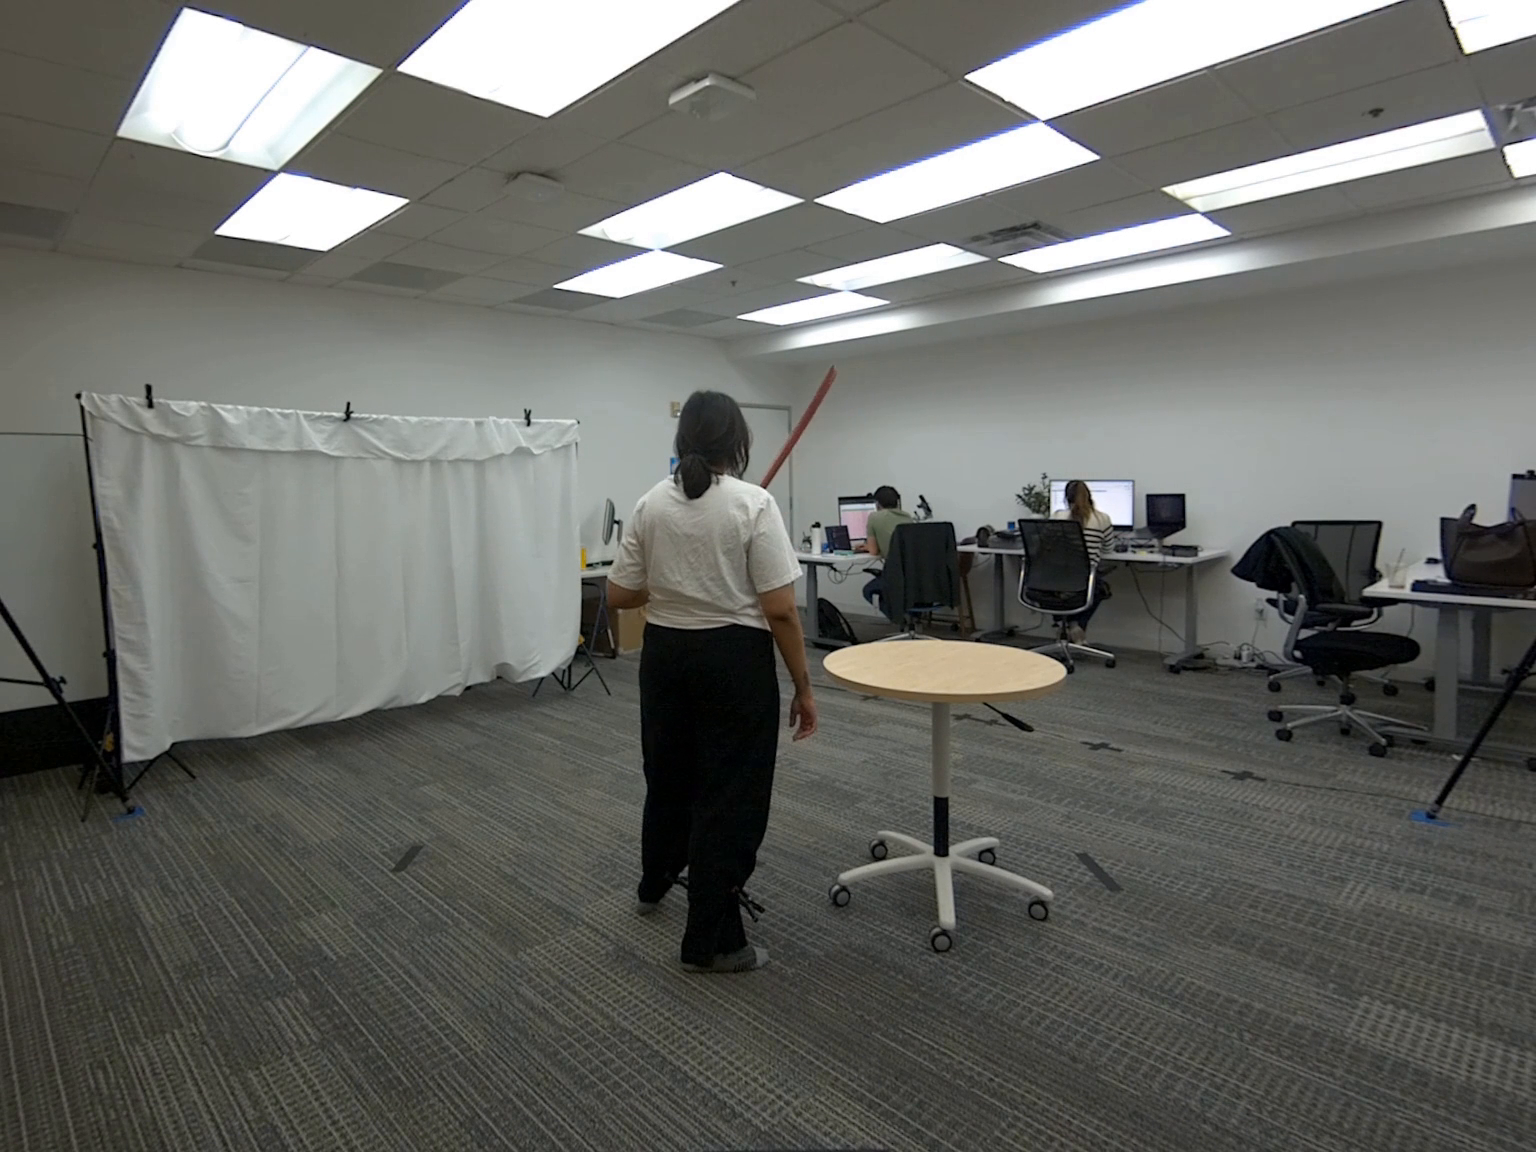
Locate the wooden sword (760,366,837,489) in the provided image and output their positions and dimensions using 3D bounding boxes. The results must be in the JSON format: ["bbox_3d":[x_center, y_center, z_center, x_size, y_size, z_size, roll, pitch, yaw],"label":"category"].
[{"bbox_3d":[0.010,-0.350,2.902,0.053,1.030,0.023,6,-32,47],"label":"wooden sword"}]
